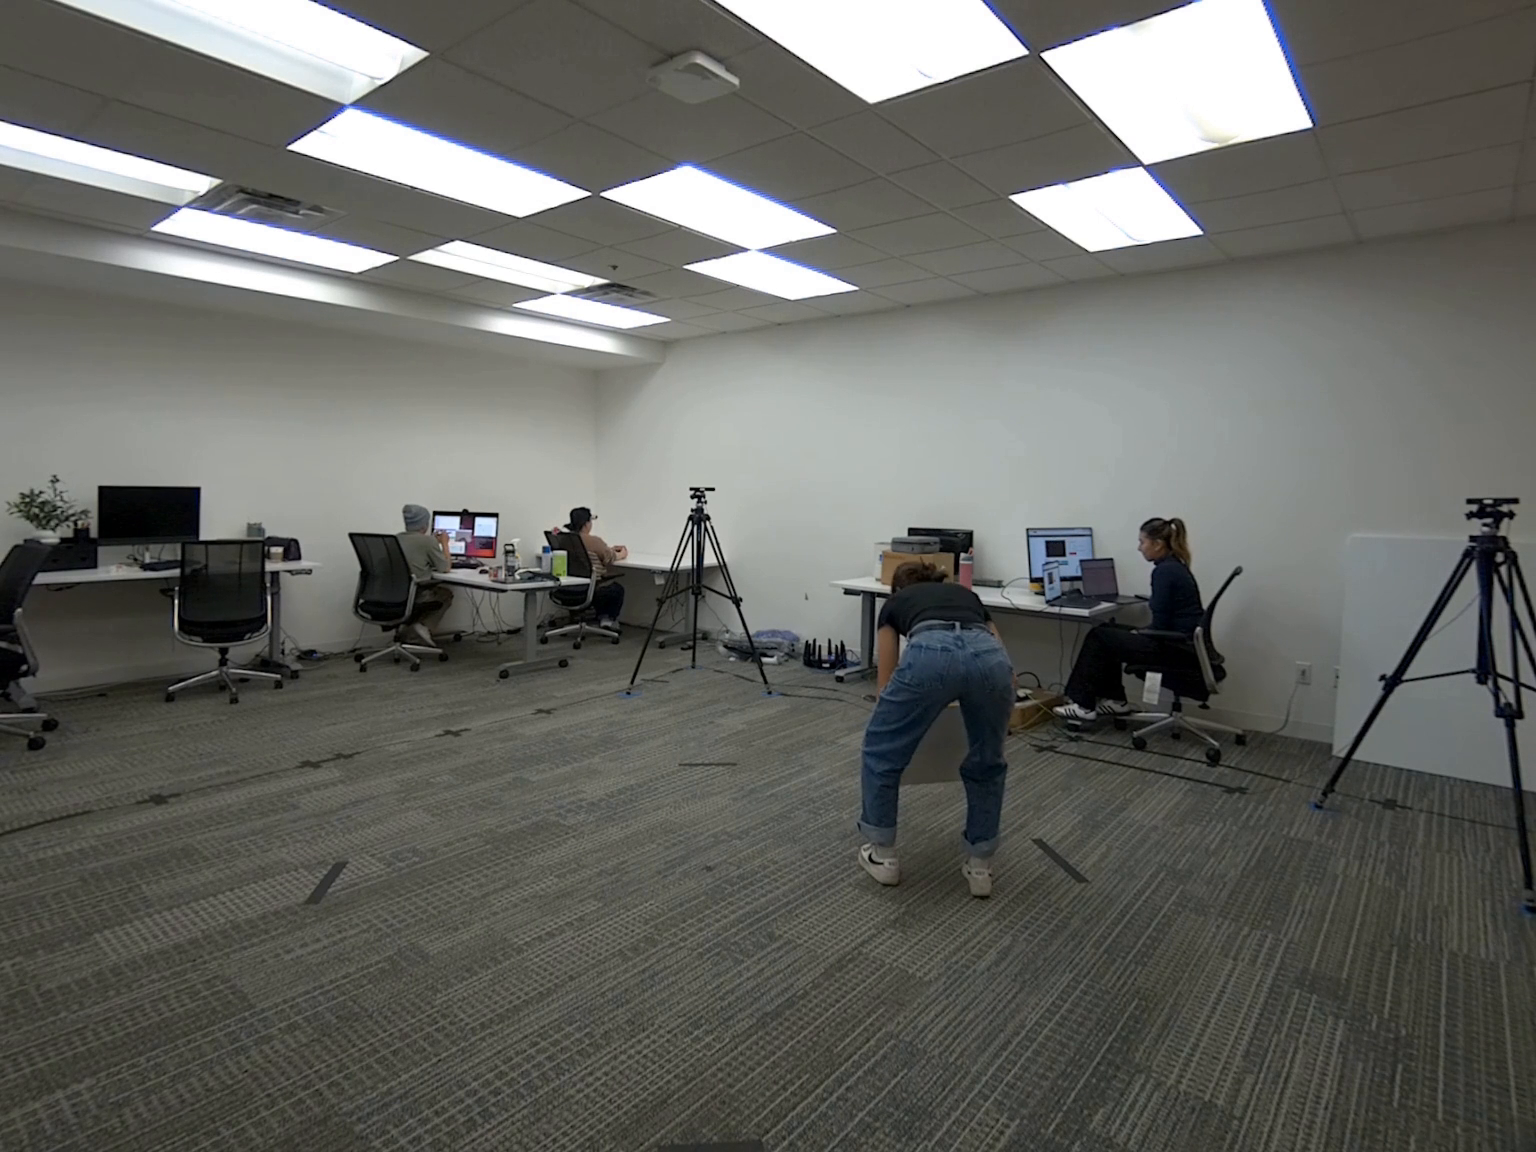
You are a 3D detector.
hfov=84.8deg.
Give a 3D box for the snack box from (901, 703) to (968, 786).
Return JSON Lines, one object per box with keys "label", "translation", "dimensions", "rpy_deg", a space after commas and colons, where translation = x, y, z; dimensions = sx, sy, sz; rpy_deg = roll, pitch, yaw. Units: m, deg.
{"label": "snack box", "translation": [0.663, 0.602, 3.311], "dimensions": [0.403, 0.334, 0.210], "rpy_deg": [-3, 19, -5]}
